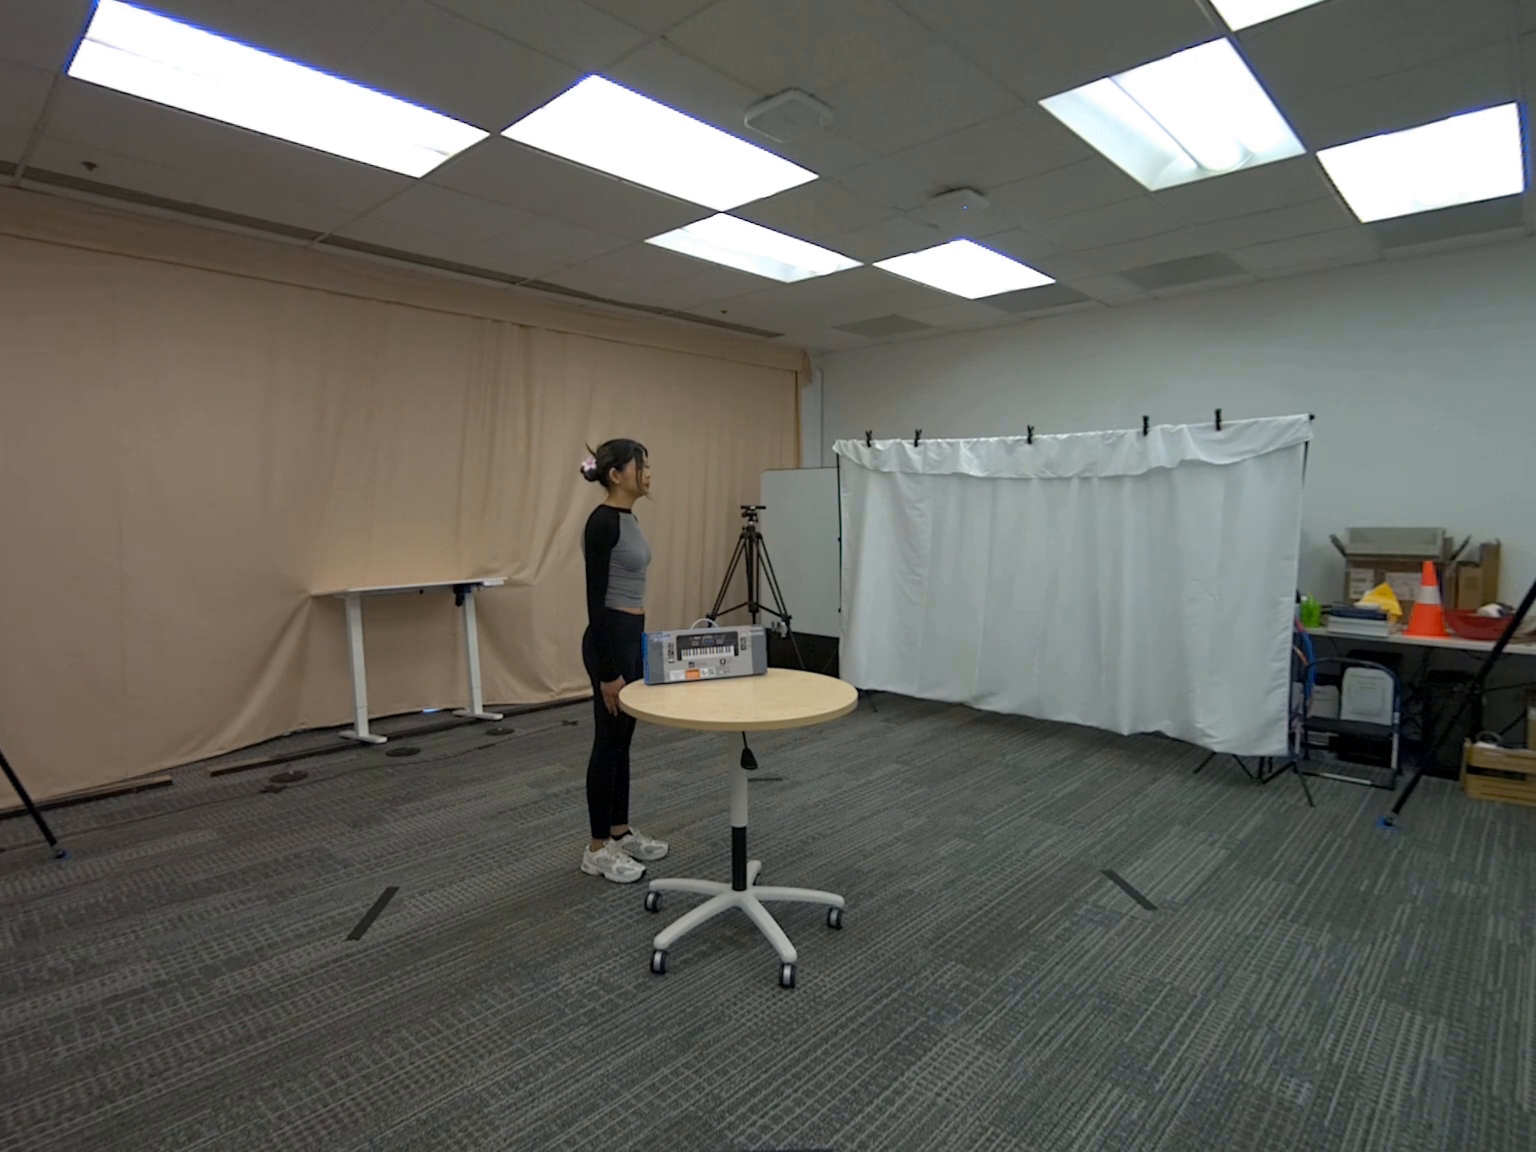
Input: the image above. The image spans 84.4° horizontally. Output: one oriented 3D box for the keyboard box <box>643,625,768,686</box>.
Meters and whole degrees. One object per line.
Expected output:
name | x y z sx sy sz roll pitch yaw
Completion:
keyboard box | -0.216 0.270 2.910 0.428 0.176 0.060 -3 -2 -21
